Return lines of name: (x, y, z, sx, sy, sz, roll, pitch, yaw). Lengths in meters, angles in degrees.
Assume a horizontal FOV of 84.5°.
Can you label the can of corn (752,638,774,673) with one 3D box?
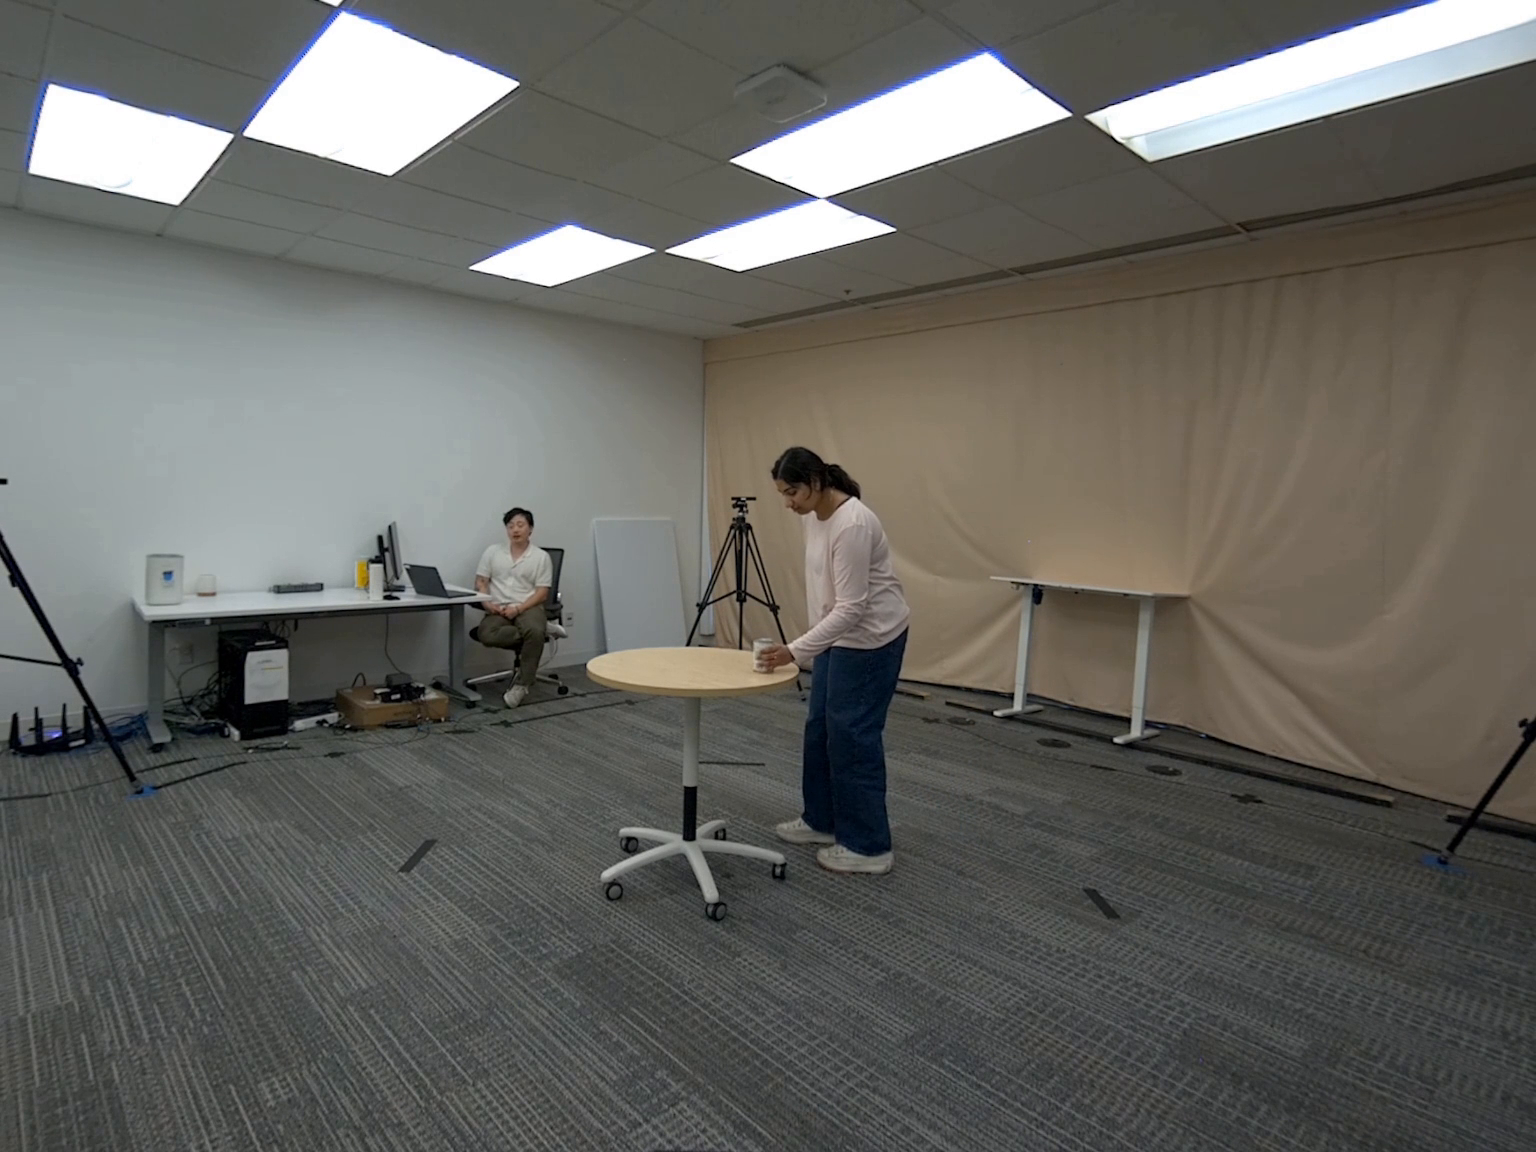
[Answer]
can of corn: (-0.020, 0.281, 2.974, 0.074, 0.111, 0.074, 1, 2, -1)
